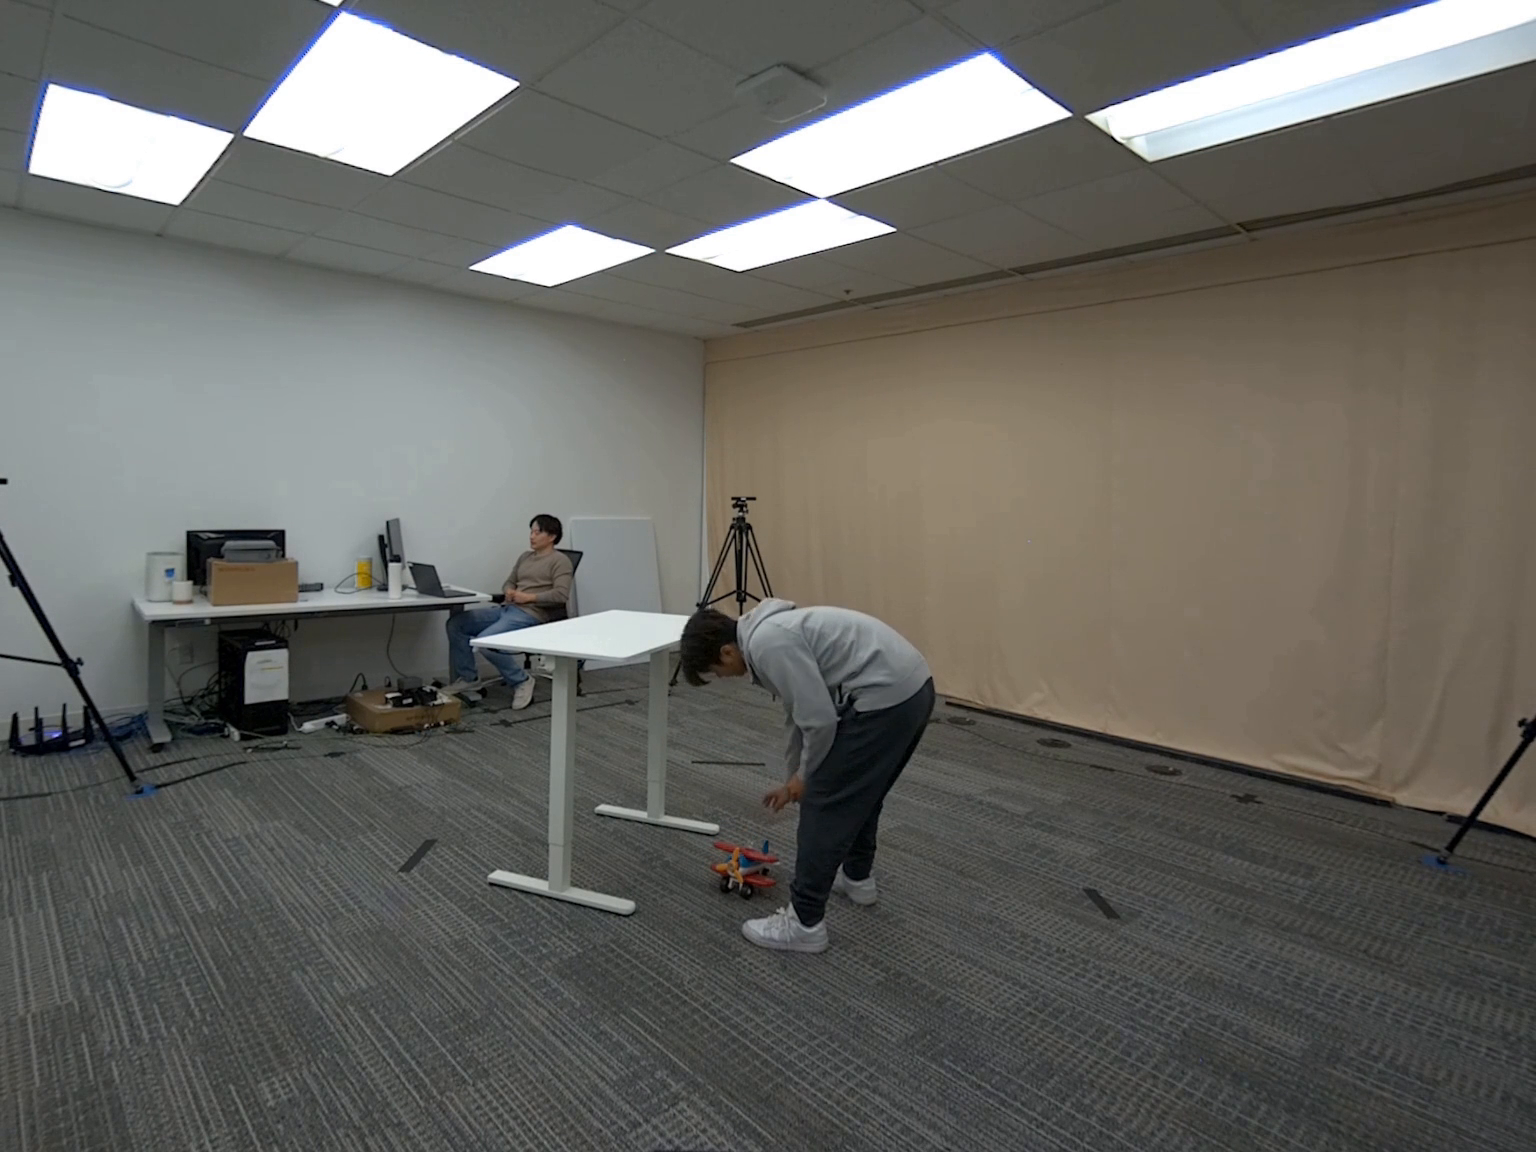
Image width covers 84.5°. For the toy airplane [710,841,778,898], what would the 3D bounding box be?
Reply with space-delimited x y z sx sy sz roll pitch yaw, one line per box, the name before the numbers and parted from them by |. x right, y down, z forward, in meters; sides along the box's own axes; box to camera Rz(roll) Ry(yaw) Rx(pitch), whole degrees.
toy airplane | -0.086 1.039 3.033 0.252 0.156 0.259 1 6 3
